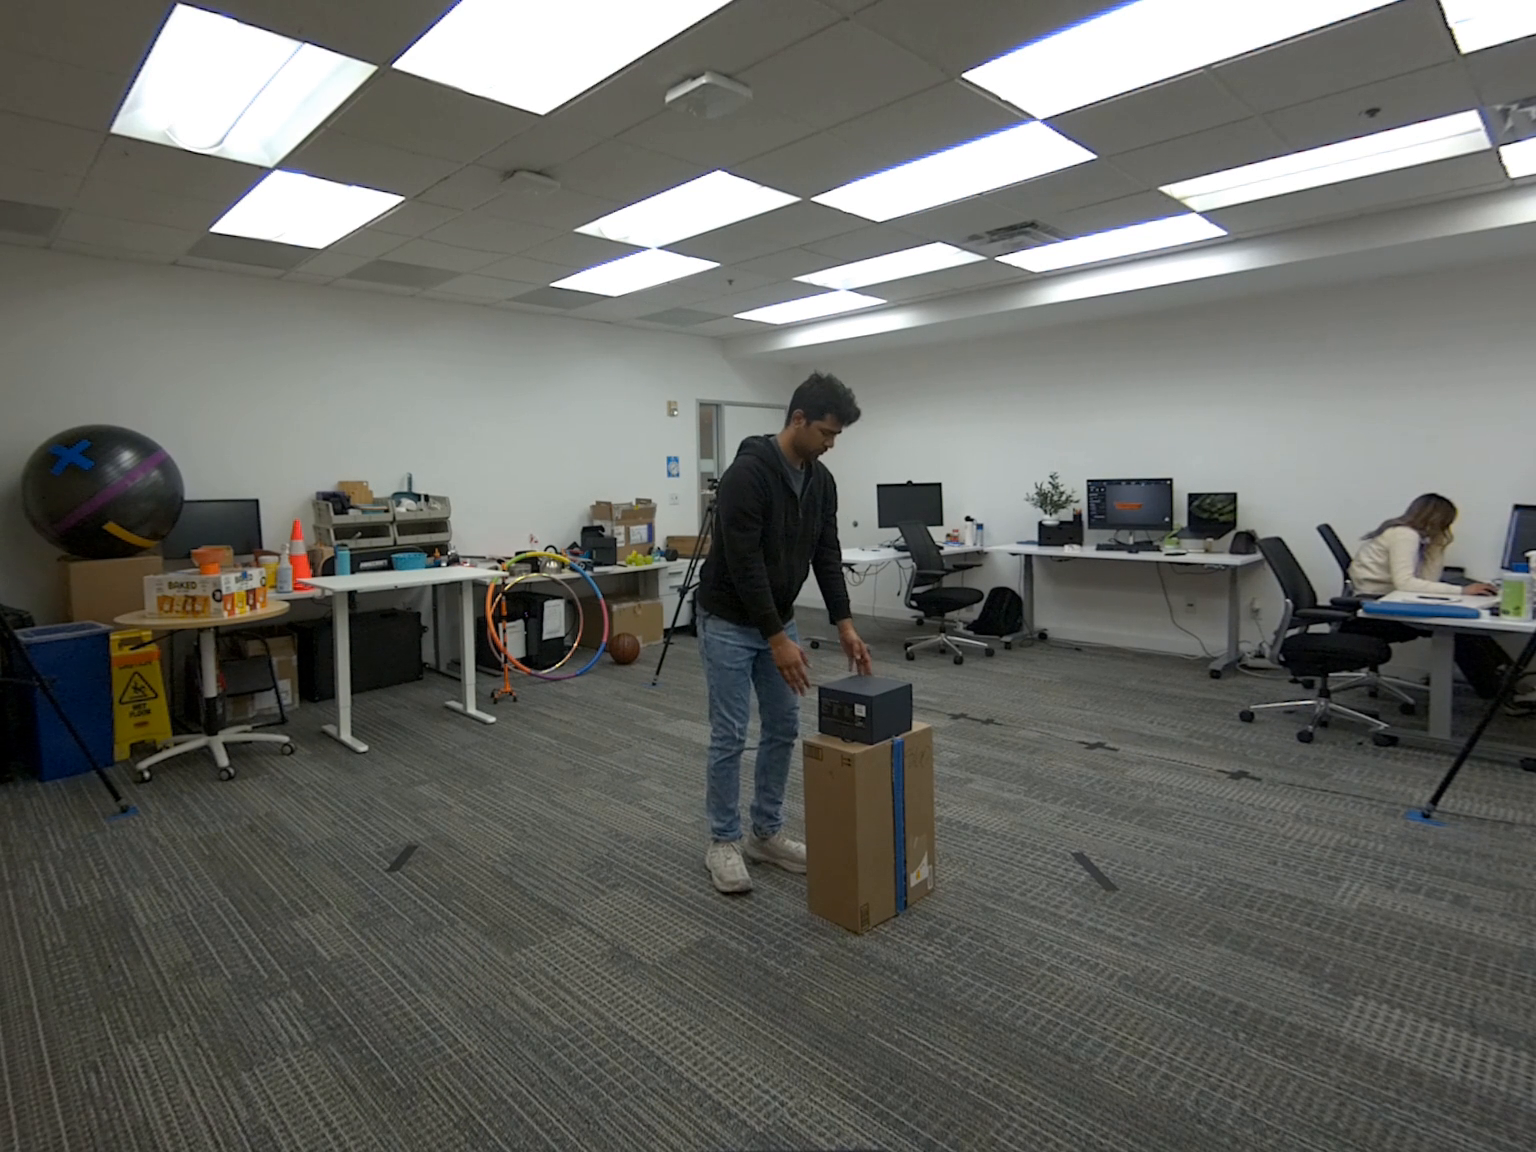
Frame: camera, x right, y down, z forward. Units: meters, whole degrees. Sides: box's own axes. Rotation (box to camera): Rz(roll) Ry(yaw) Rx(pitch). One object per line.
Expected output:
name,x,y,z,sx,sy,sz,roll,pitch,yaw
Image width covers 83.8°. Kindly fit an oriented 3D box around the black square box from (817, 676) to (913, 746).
black square box,0.321,0.429,2.785,0.223,0.155,0.222,3,7,43
